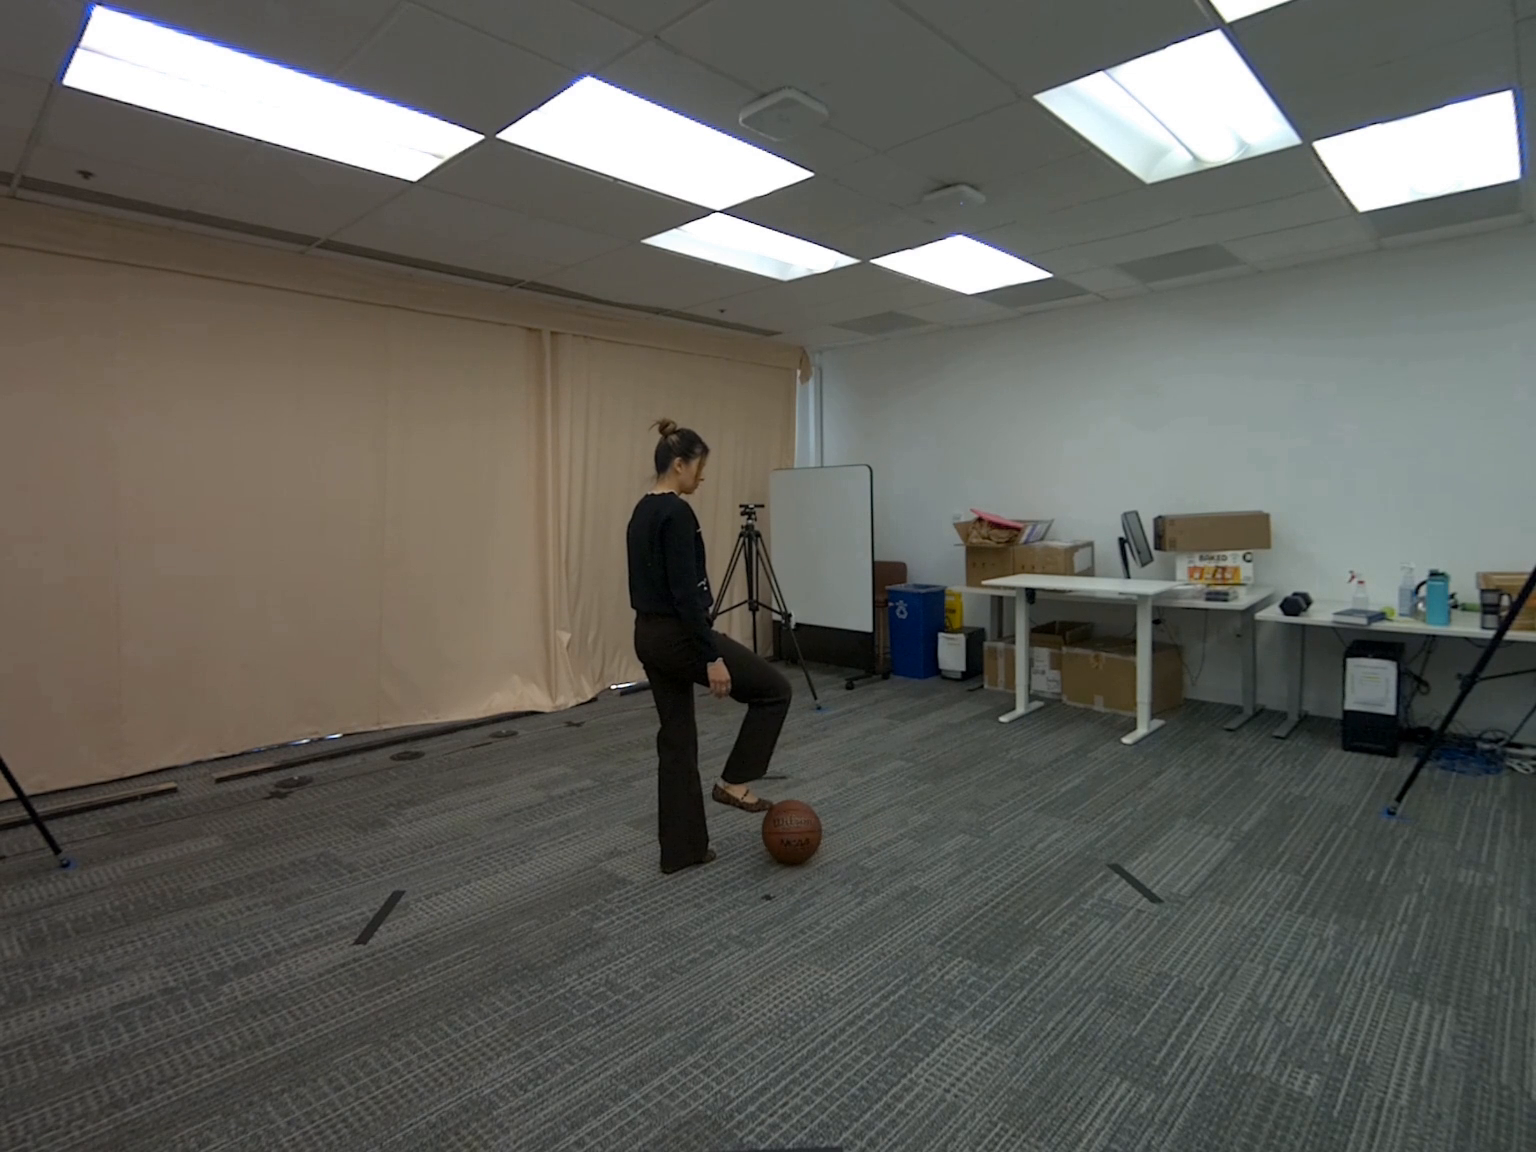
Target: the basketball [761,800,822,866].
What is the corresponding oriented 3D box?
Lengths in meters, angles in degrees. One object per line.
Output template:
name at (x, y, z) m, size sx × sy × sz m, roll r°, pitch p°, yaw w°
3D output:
basketball at (0.109, 0.994, 3.269) m, size 0.236 × 0.235 × 0.237 m, roll -1°, pitch 4°, yaw -2°
